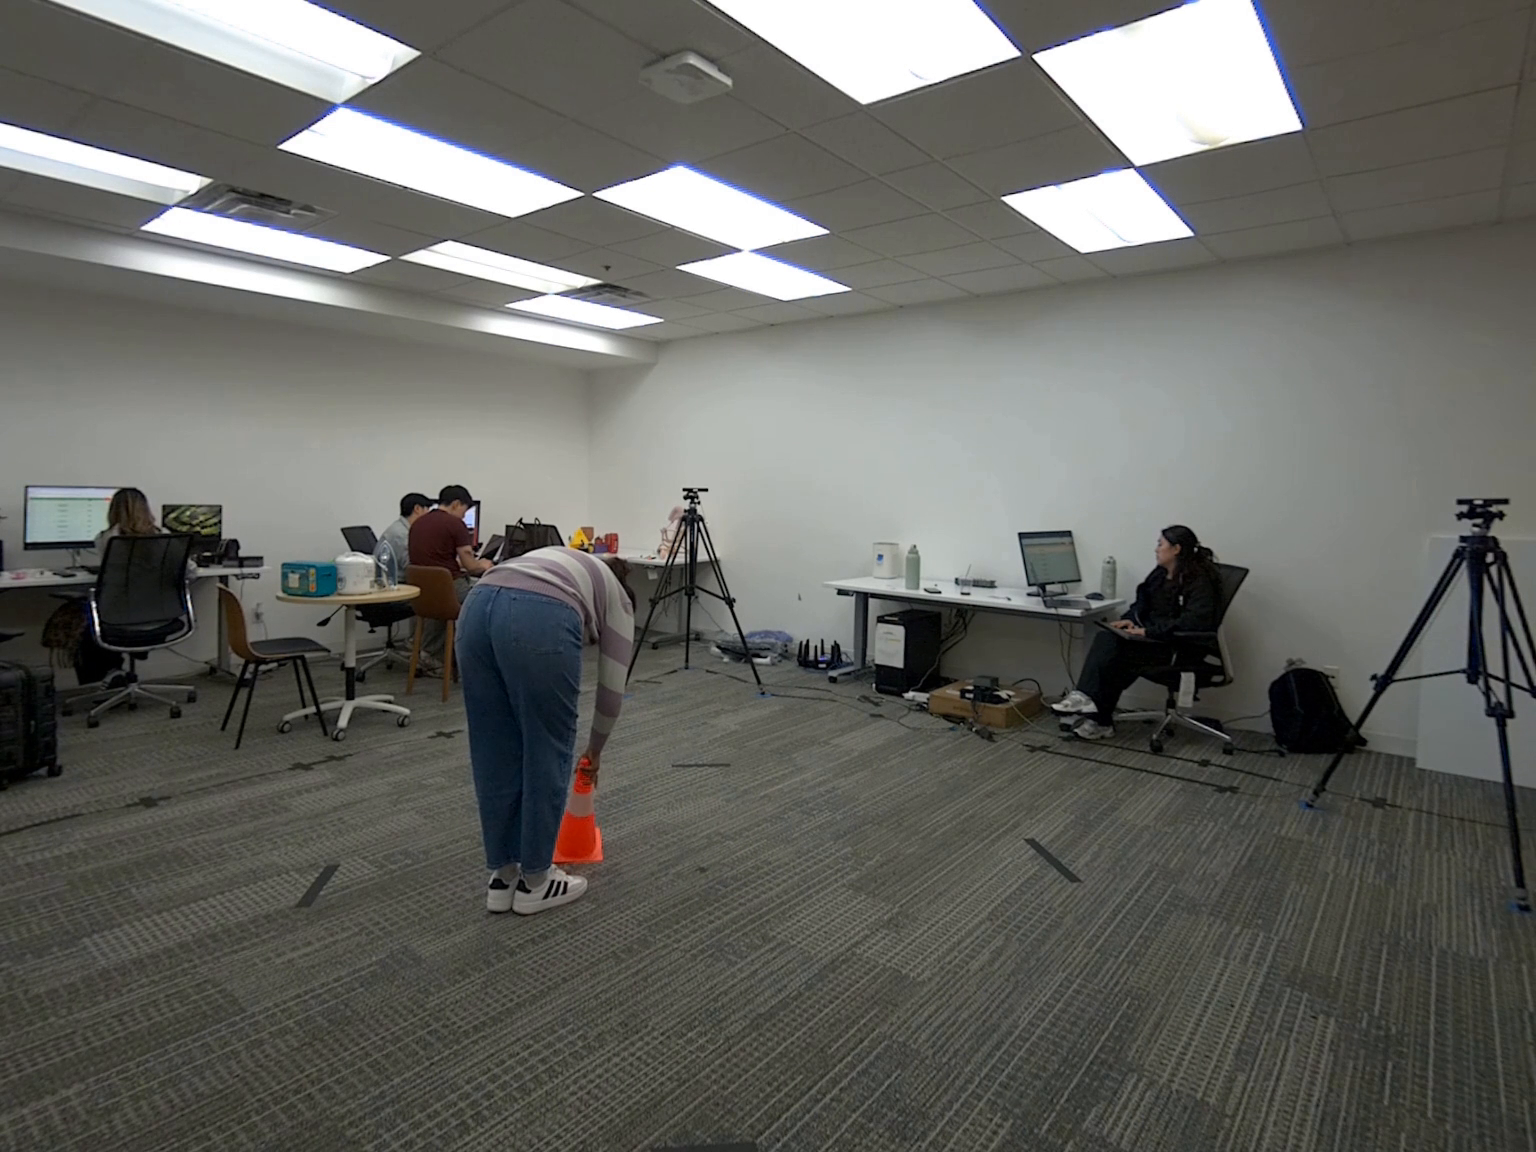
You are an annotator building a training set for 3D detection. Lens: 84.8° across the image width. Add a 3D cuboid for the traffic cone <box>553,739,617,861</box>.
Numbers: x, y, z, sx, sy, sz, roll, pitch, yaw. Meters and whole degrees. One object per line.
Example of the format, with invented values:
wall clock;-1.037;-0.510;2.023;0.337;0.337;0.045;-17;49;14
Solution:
traffic cone;-0.705;0.842;3.177;0.200;0.379;0.210;6;16;-14
